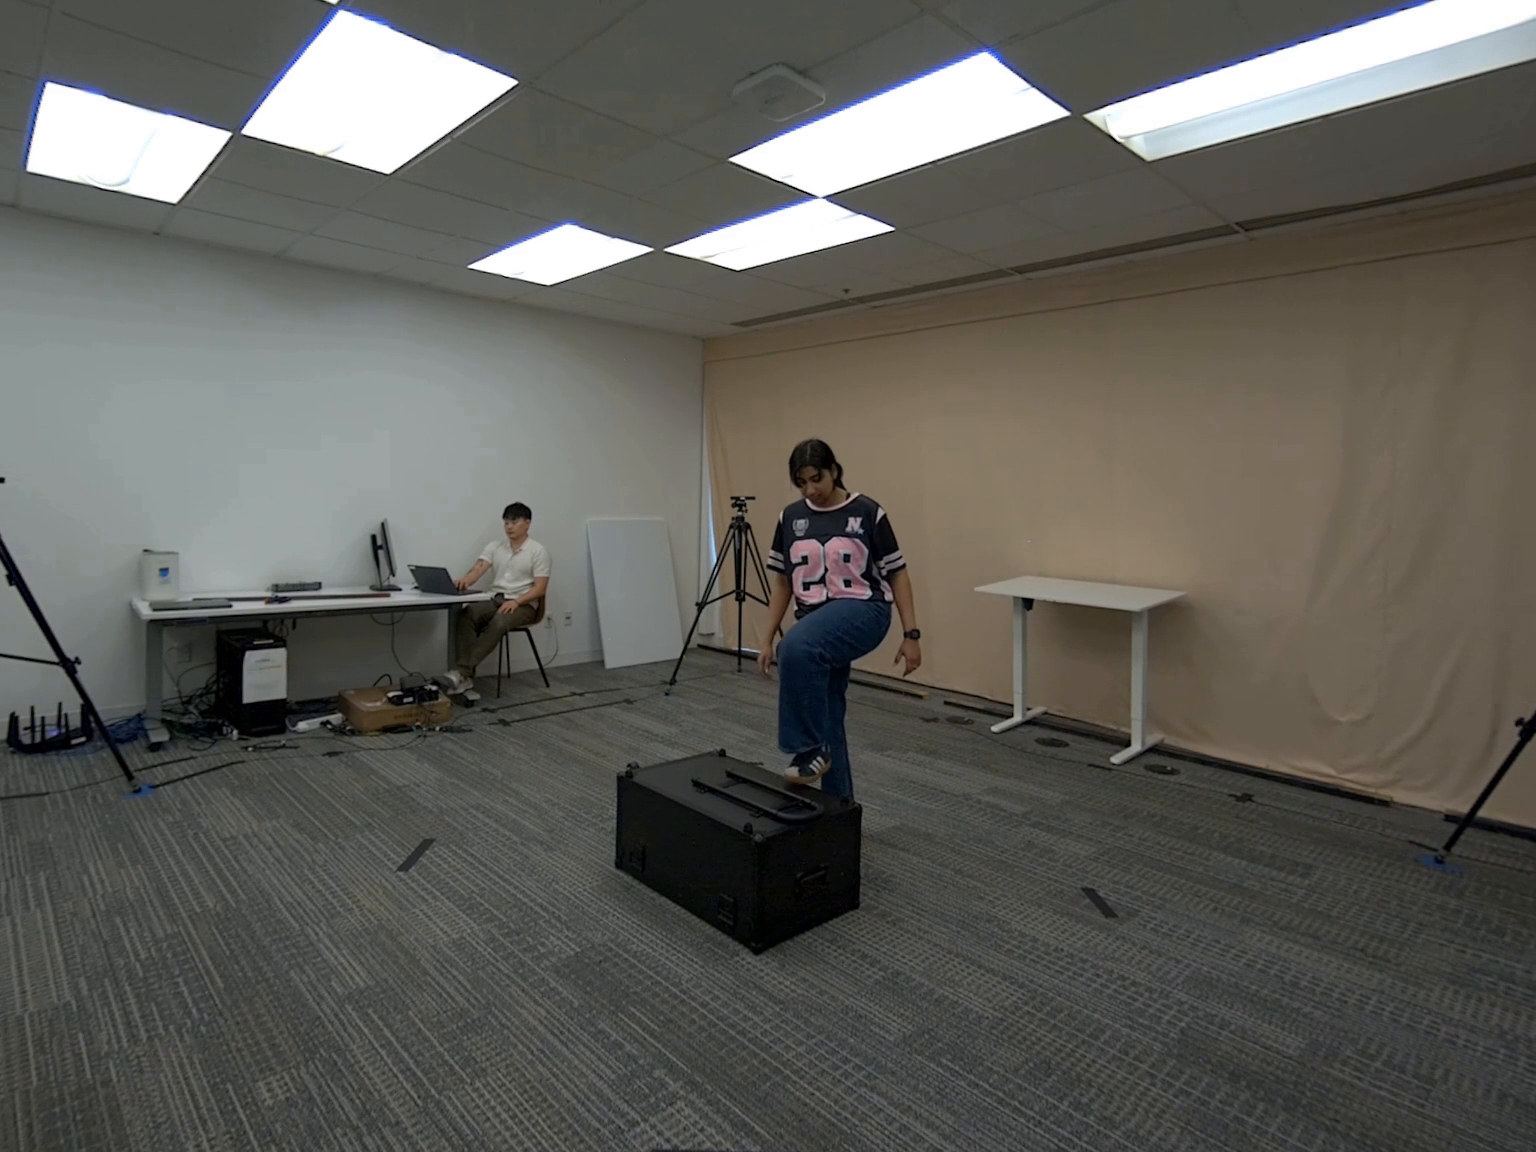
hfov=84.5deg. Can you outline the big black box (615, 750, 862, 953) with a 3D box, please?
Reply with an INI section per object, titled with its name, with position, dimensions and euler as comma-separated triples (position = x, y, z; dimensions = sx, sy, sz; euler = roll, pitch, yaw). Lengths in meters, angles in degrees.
[big black box]
position = -0.161, 0.928, 3.020
dimensions = 0.512, 0.384, 0.891
euler = -4, 7, -42
